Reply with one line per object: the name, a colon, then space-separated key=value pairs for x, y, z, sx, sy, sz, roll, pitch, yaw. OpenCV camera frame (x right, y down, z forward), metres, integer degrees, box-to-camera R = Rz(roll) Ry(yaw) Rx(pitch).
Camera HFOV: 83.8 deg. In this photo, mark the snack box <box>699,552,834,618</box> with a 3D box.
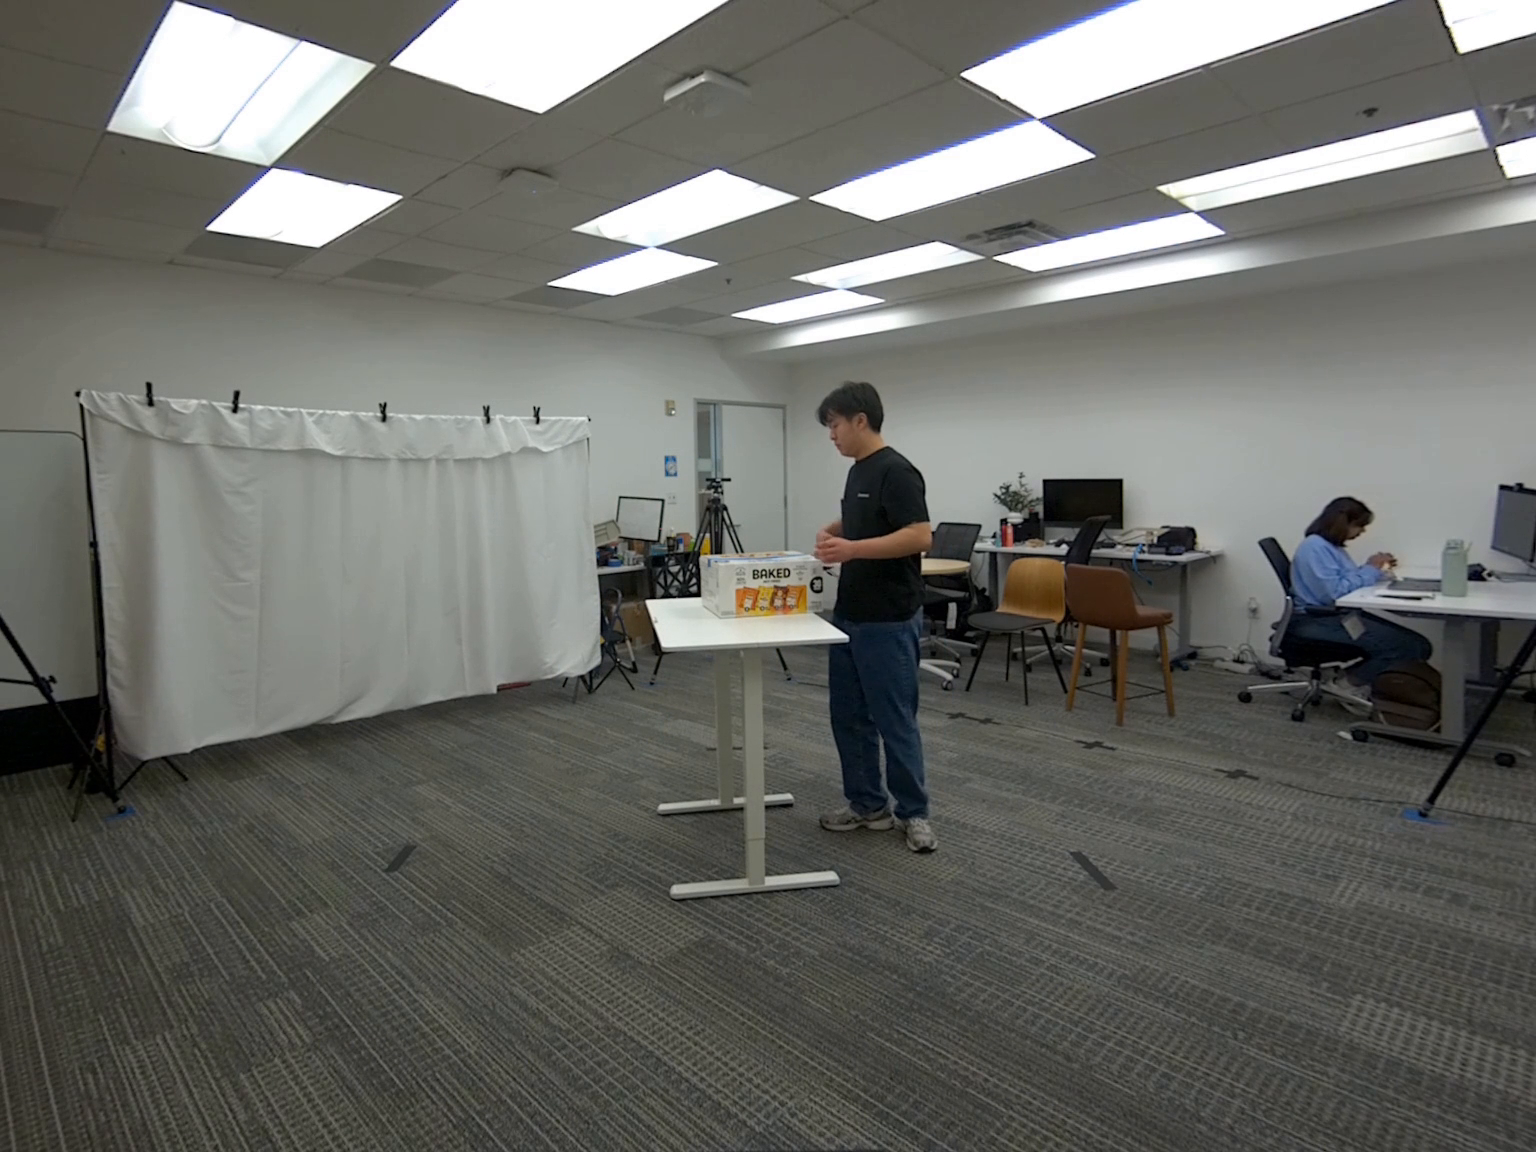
snack box: x=-0.027 y=0.025 z=3.339 sx=0.400 sy=0.205 sz=0.346 roll=-3 pitch=7 yaw=-14
